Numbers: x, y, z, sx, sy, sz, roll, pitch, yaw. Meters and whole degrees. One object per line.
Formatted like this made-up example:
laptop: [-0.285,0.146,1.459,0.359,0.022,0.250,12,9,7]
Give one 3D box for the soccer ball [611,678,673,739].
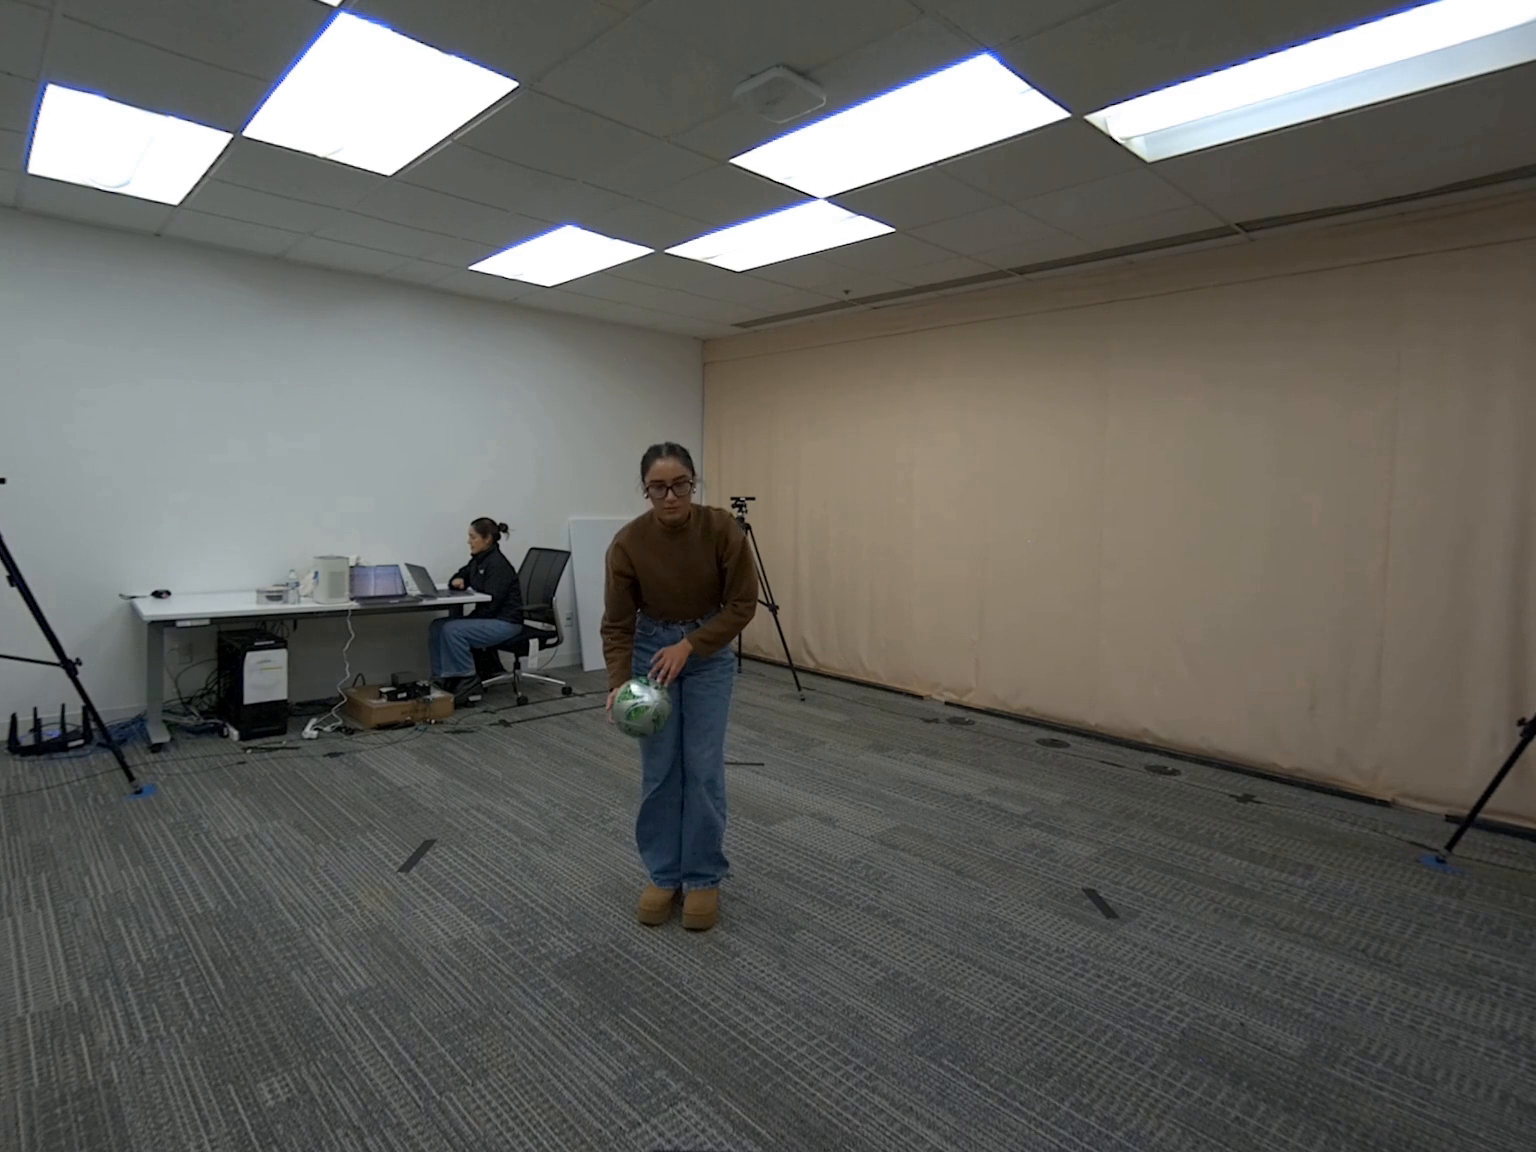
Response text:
soccer ball: [-0.397,0.417,2.602,0.187,0.187,0.188,1,4,-1]
